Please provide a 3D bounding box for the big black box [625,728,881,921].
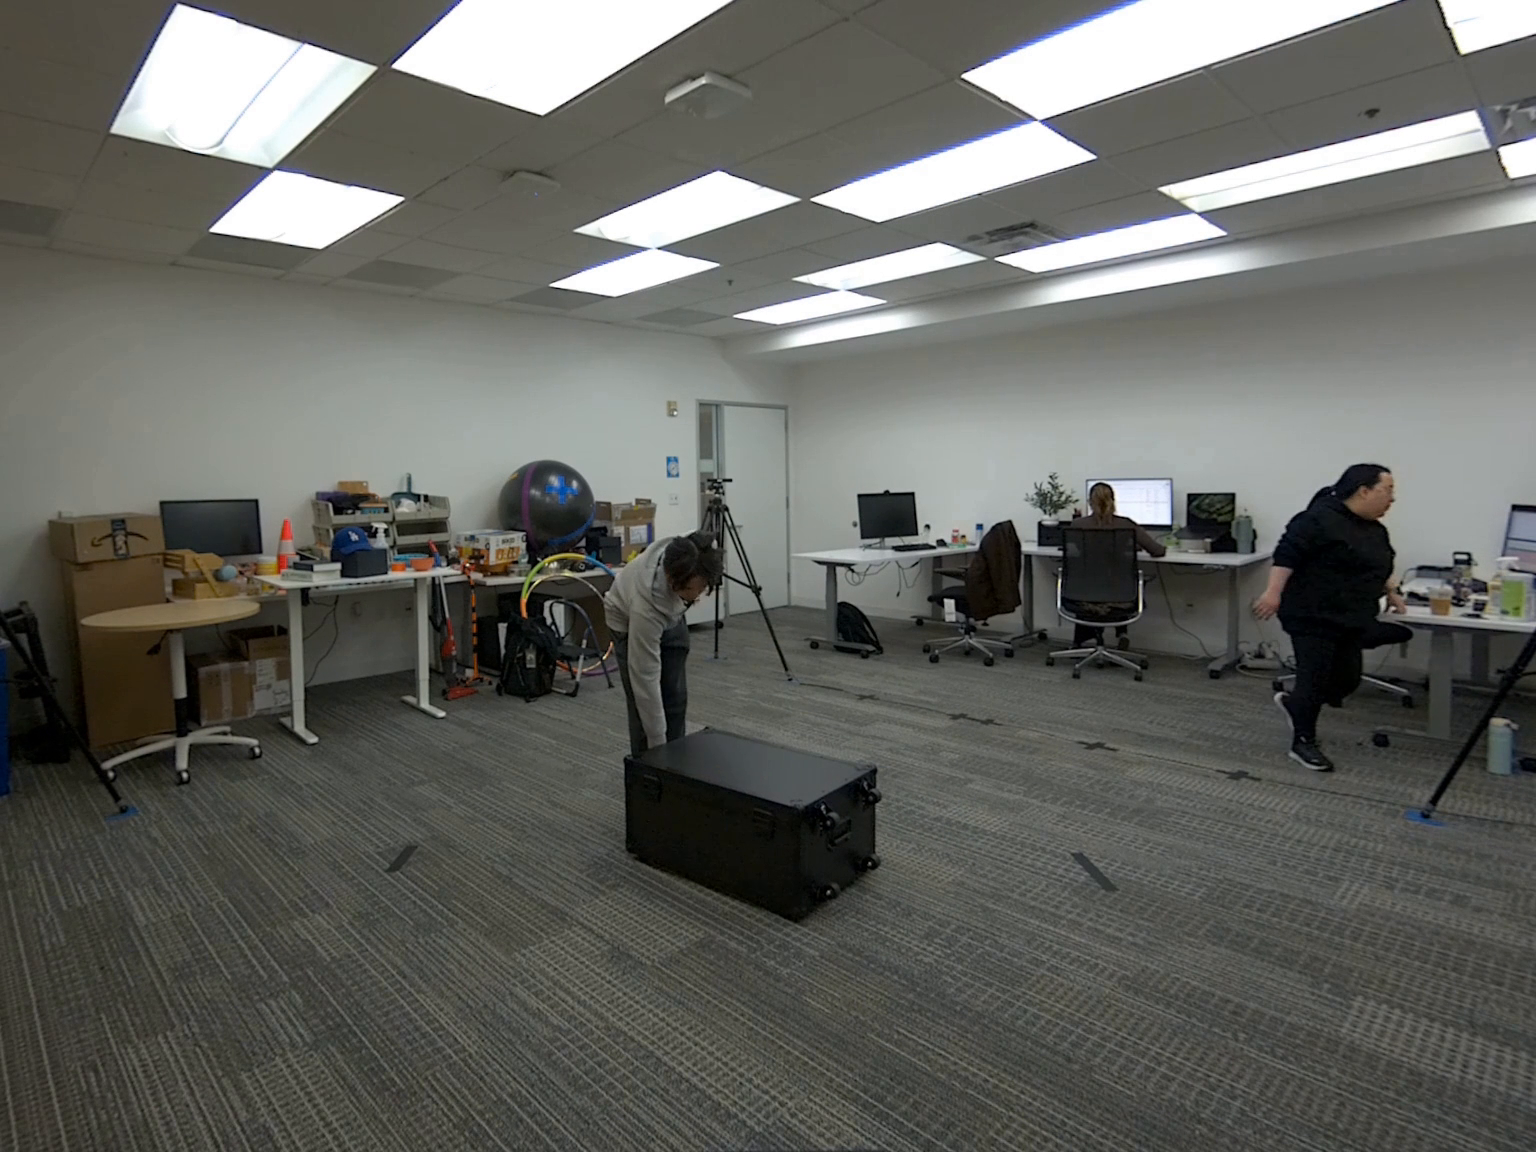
[{"bbox_3d":[-0.090,0.855,3.105,0.887,0.394,0.508,5,7,38],"label":"big black box"}]
